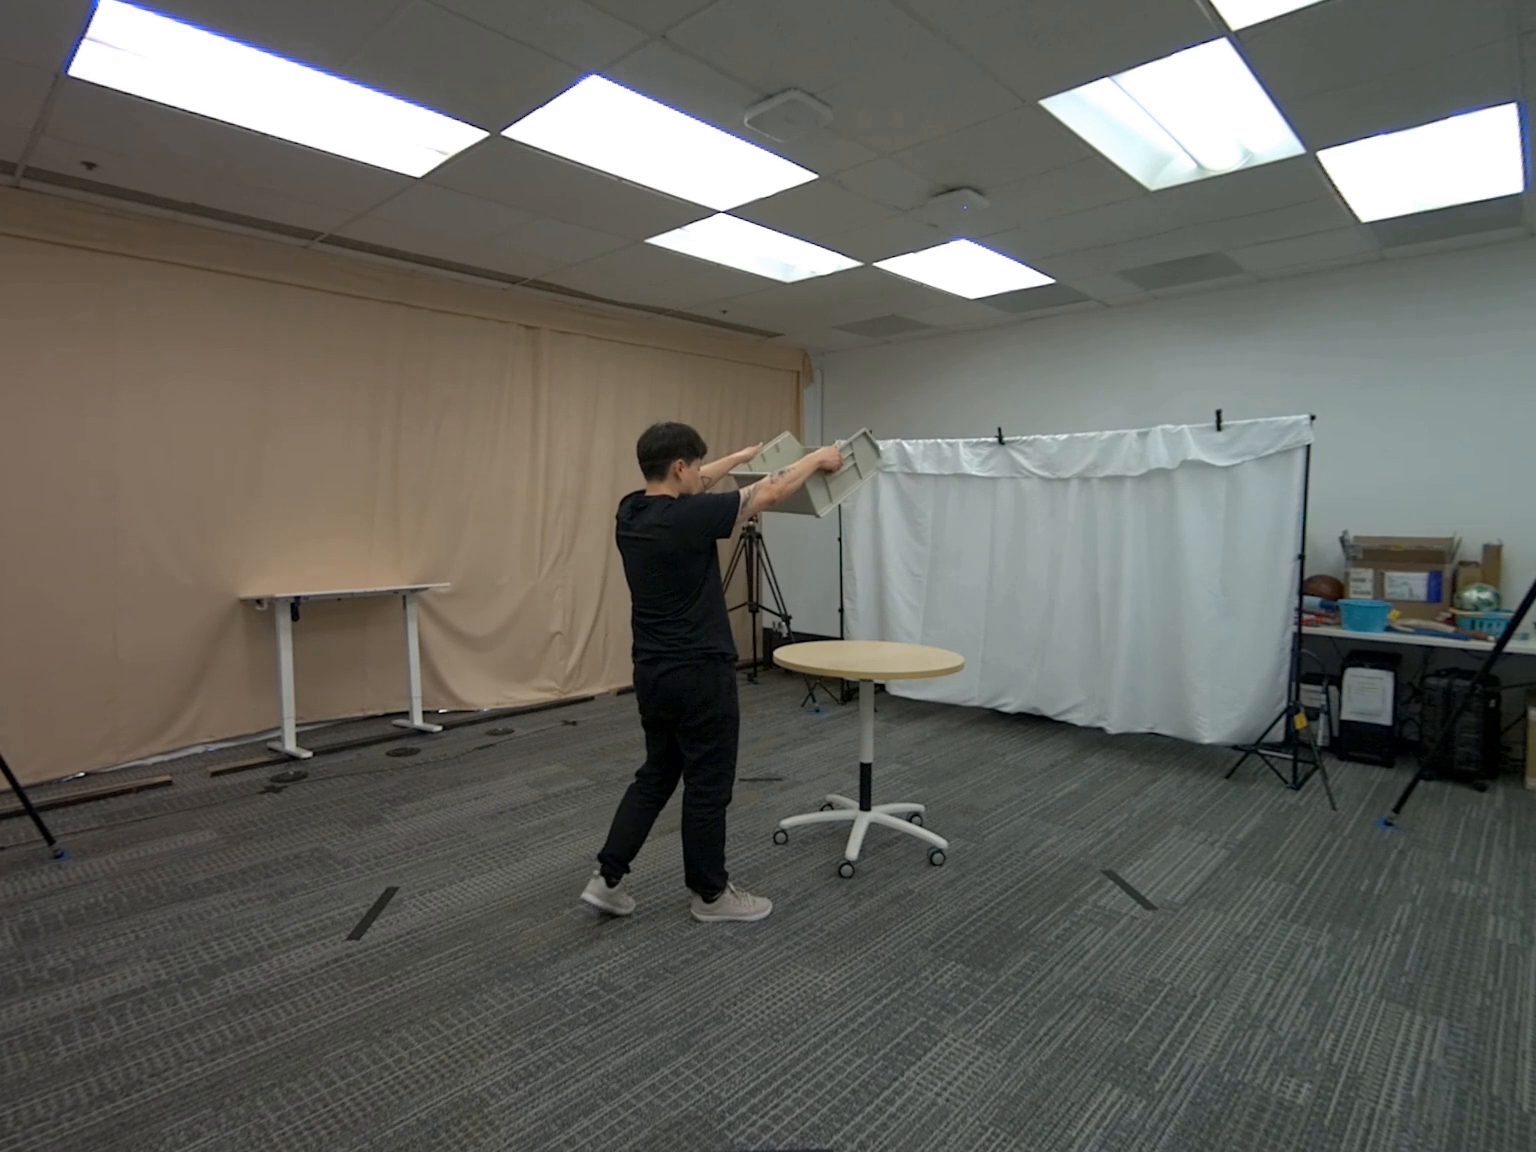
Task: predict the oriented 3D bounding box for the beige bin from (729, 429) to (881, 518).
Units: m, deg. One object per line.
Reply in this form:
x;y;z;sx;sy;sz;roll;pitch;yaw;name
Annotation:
0.145;-0.387;3.114;0.373;0.185;0.437;-39;29;-29;beige bin
